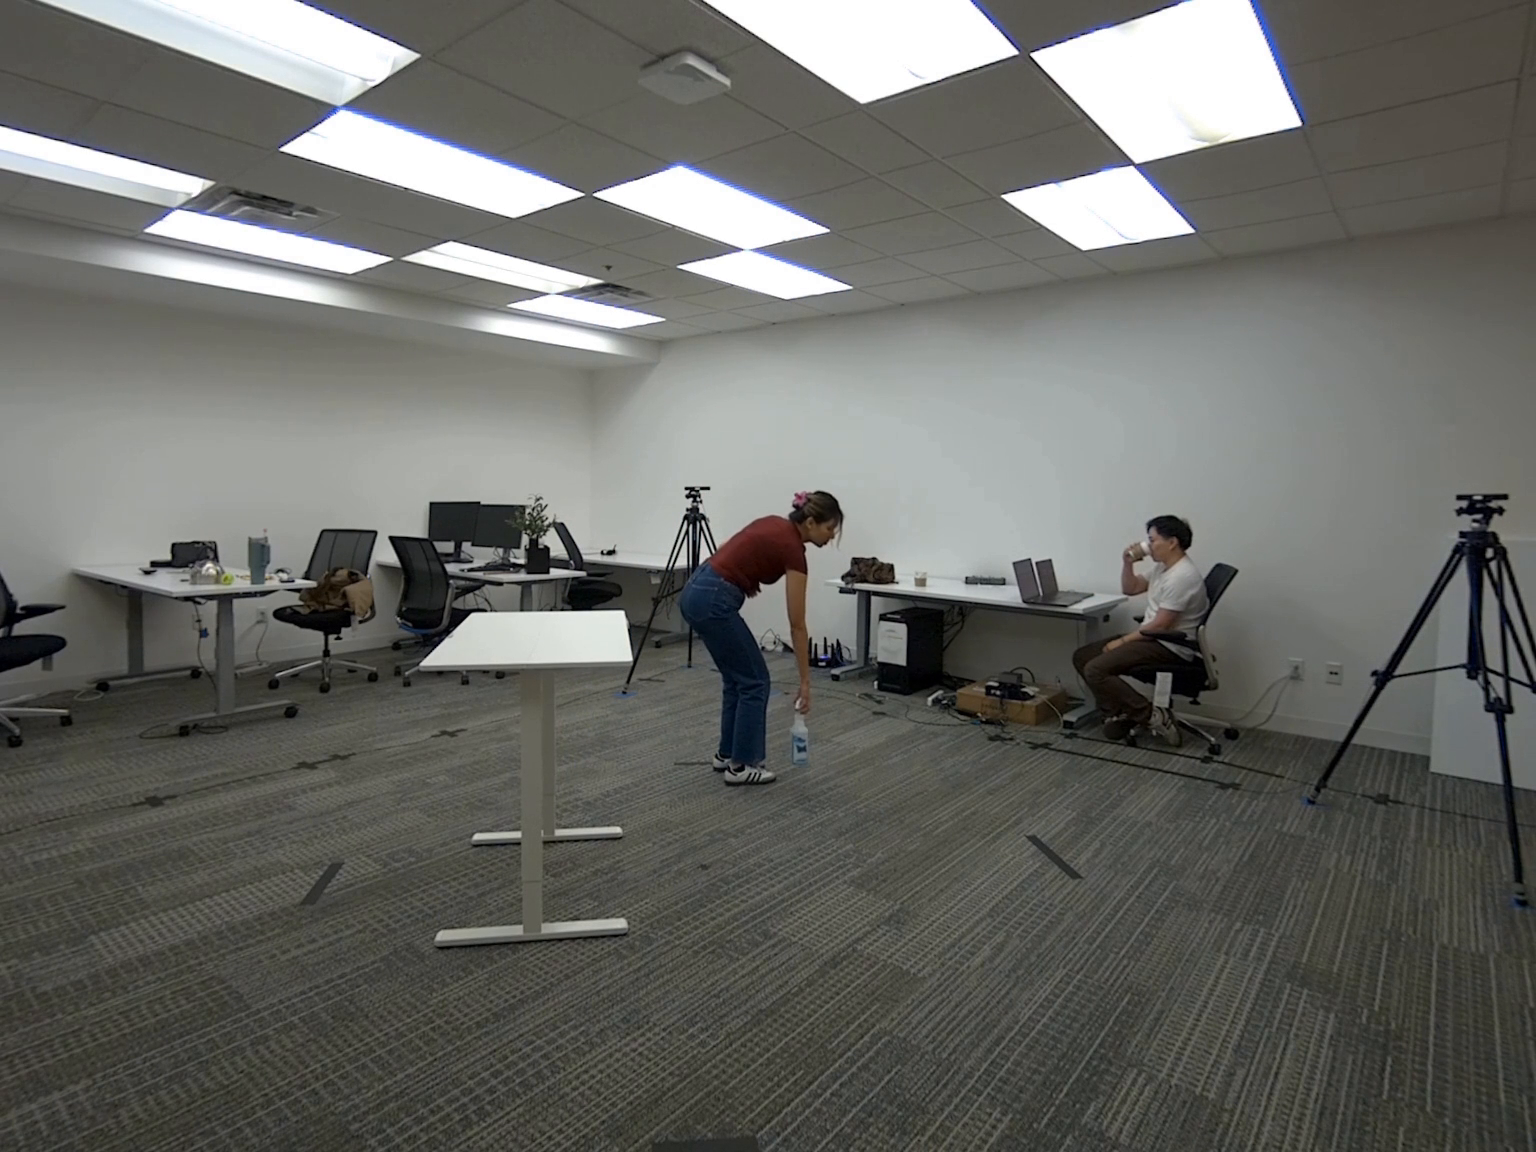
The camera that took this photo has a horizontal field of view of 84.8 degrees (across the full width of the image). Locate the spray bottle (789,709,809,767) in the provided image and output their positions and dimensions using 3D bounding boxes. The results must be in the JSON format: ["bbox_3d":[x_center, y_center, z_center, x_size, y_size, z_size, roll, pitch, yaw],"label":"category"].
[{"bbox_3d":[0.133,0.721,3.978,0.090,0.297,0.087,3,3,43],"label":"spray bottle"}]
